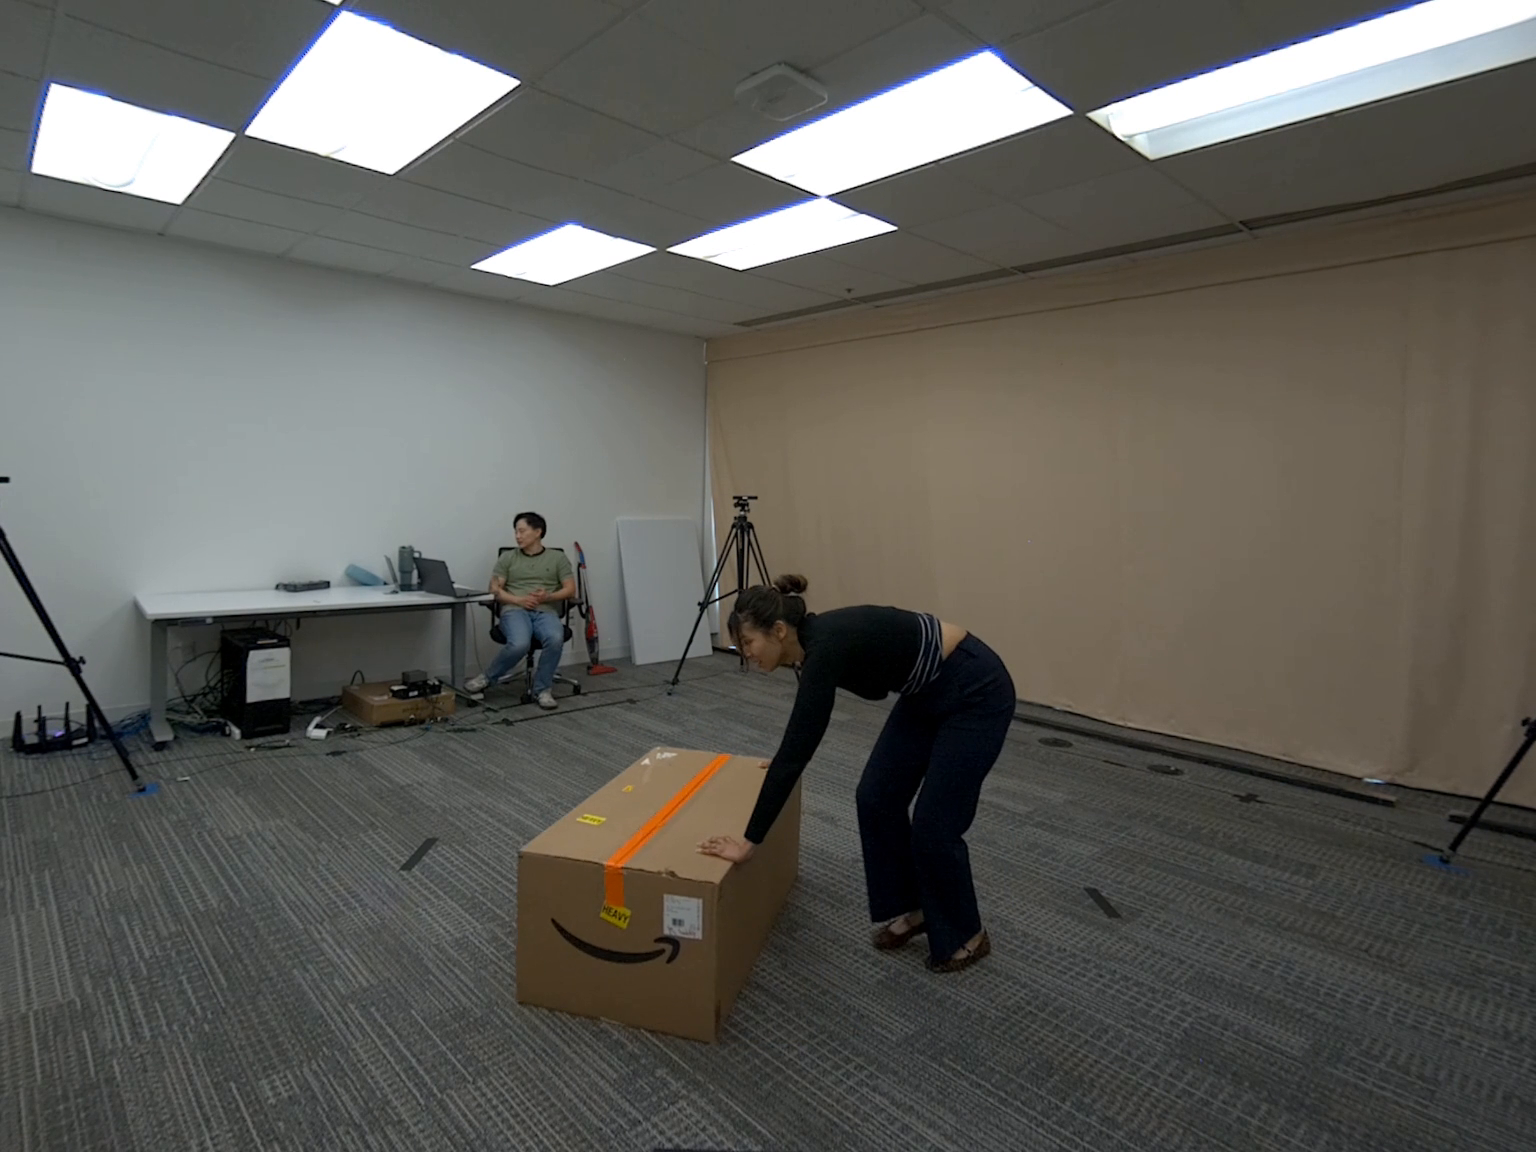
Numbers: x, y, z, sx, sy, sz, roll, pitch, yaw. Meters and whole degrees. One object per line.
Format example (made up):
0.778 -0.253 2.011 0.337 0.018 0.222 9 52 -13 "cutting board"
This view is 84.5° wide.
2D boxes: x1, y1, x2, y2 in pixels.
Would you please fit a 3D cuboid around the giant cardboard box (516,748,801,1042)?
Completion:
-0.291 0.924 2.689 0.585 0.425 1.016 4 5 14 "giant cardboard box"
